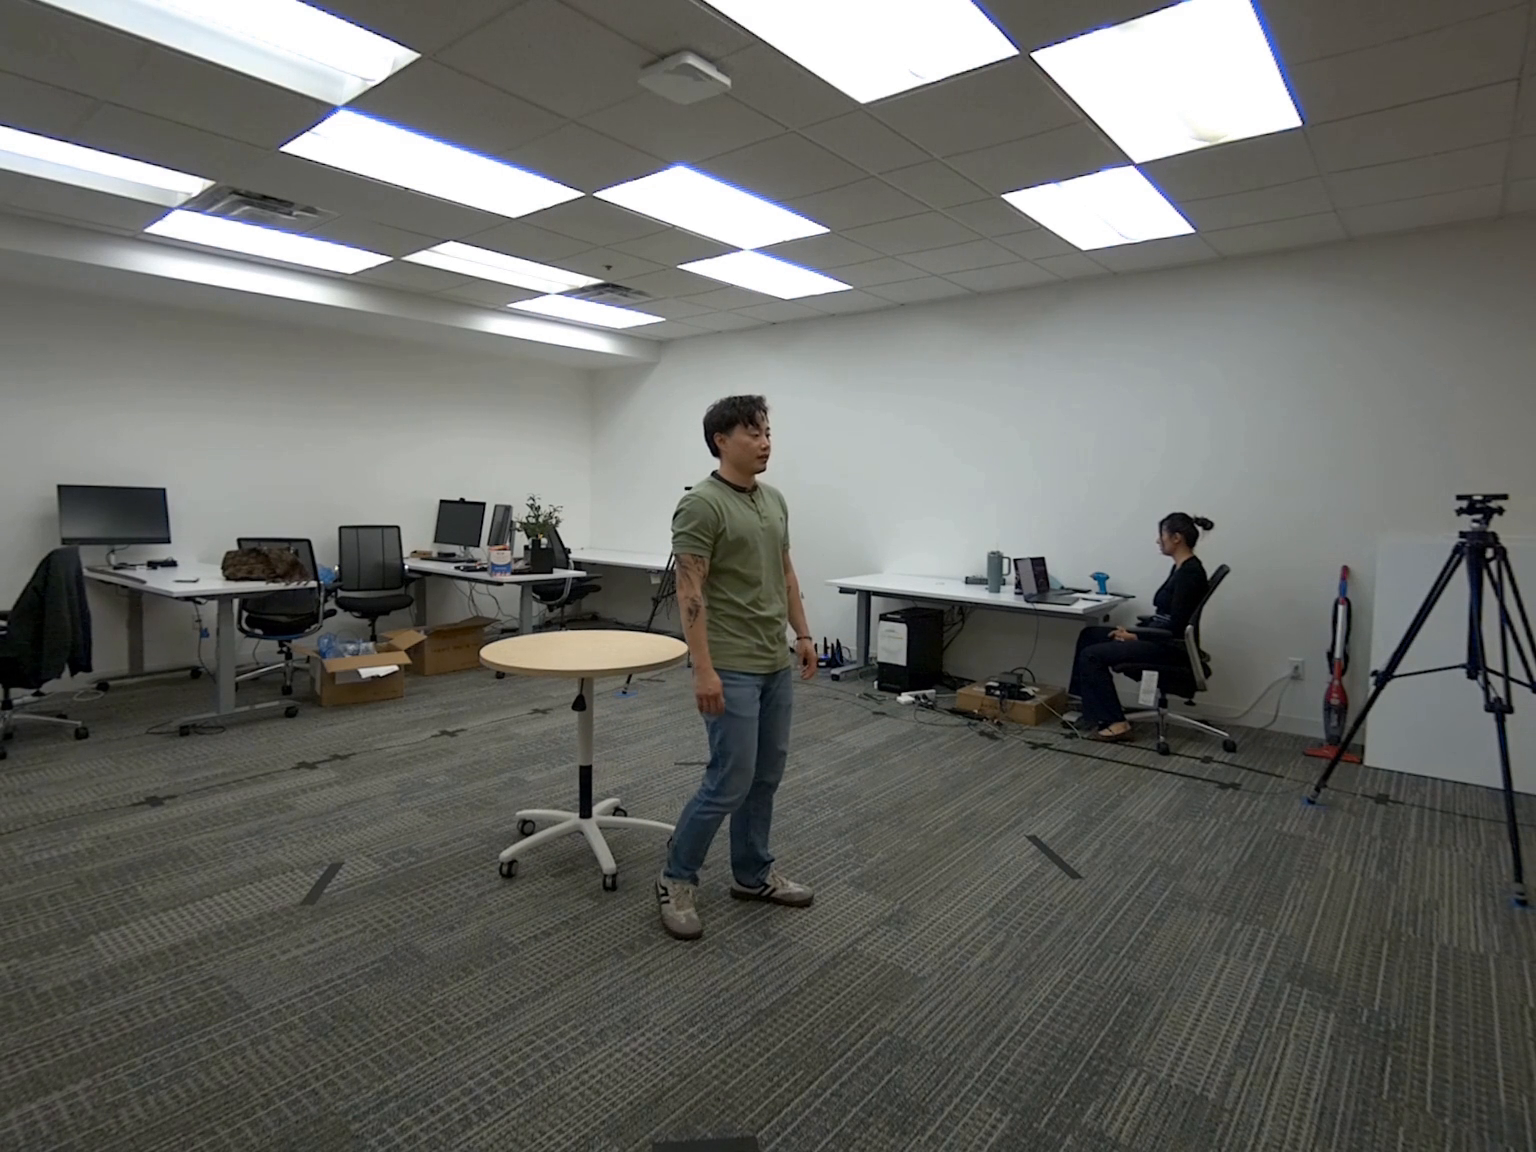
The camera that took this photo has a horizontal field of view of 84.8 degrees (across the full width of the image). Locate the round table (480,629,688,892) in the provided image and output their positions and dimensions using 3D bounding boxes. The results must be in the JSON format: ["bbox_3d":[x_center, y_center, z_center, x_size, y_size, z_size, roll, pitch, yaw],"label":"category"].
[{"bbox_3d":[-0.693,0.660,3.199,0.763,0.791,0.768,0,4,-2],"label":"round table"}]
